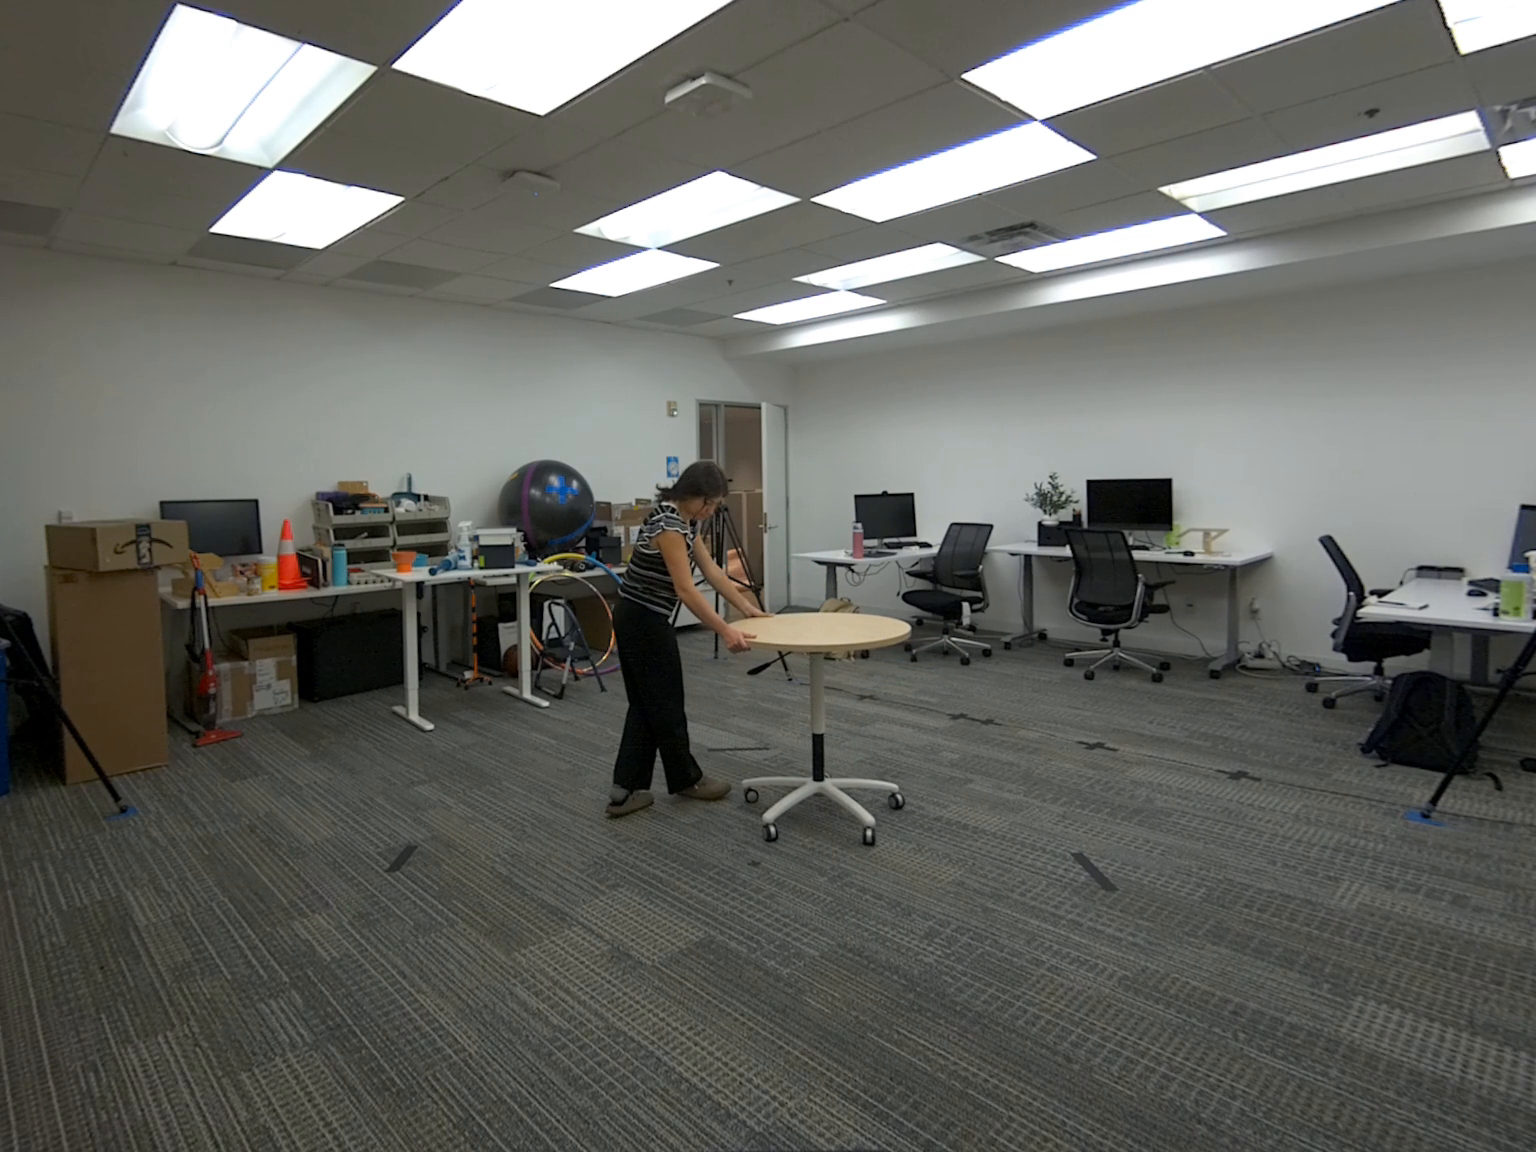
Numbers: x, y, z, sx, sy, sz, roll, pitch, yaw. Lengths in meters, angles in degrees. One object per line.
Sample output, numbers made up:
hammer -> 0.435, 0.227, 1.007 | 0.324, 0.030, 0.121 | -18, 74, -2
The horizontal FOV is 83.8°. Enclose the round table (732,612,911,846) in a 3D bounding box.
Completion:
round table -> 0.211, 0.606, 3.532 | 0.763, 0.791, 0.767 | -1, 4, -2
